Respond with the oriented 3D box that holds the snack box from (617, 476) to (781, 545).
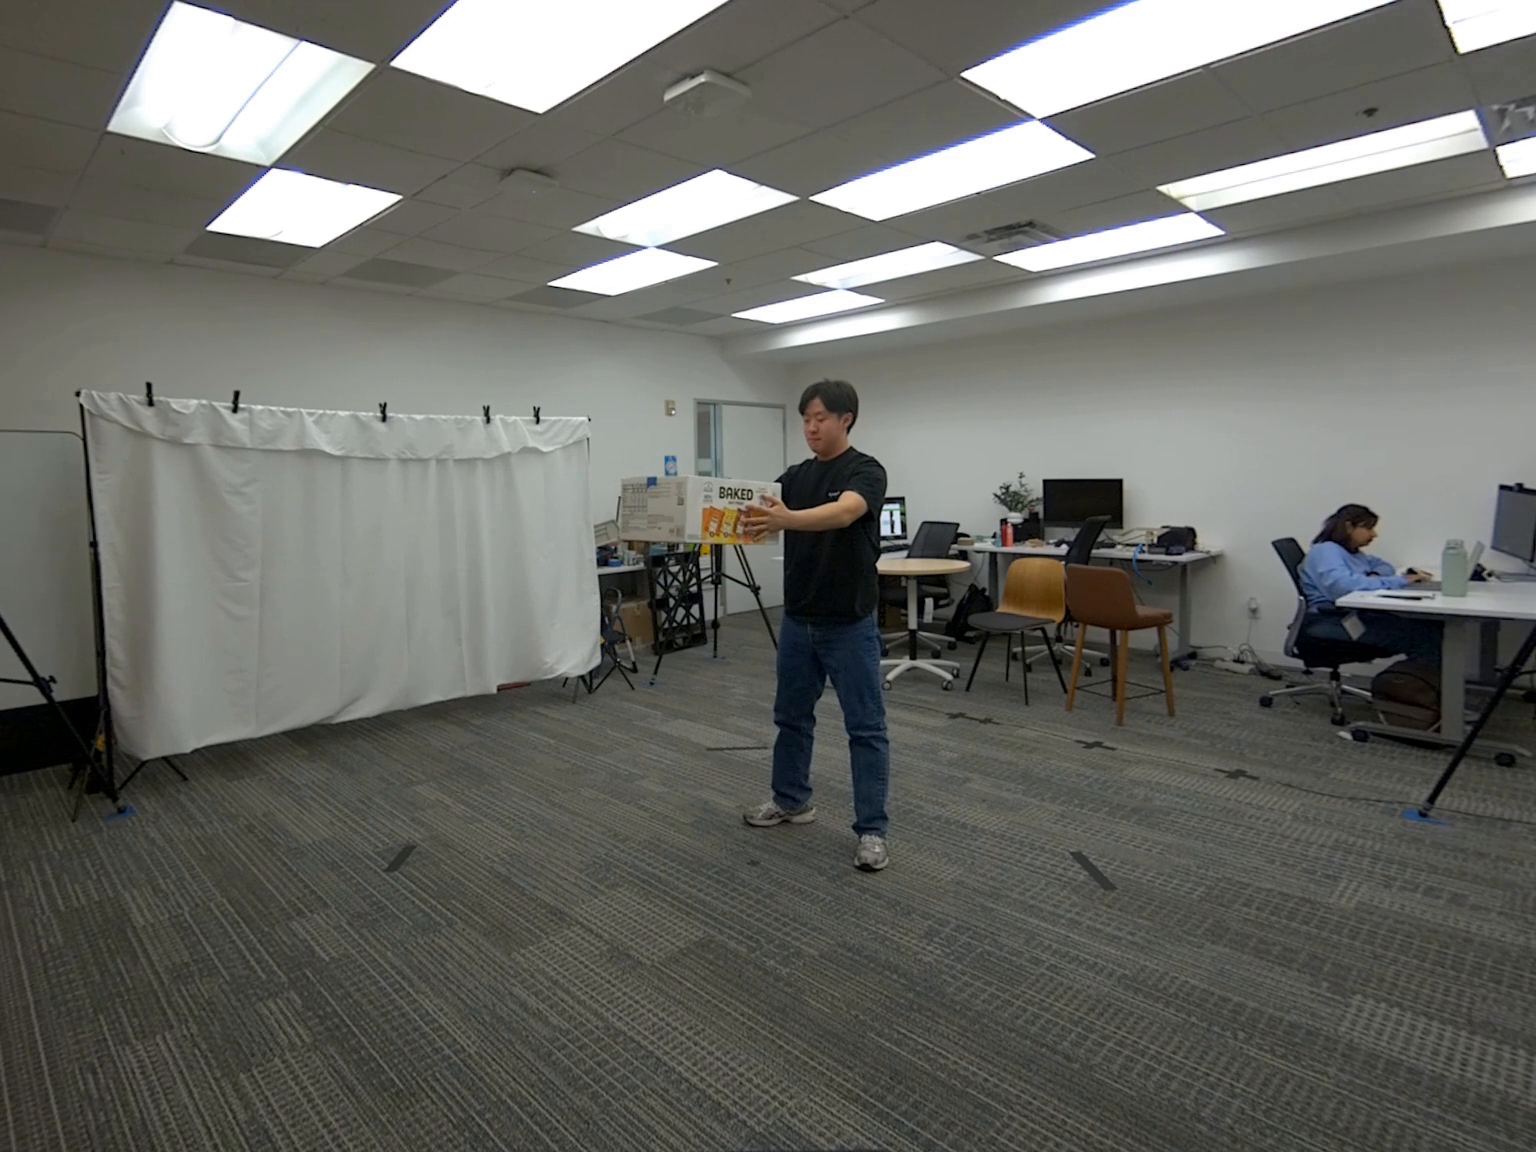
[{"bbox_3d":[-0.214,-0.198,2.789,0.393,0.205,0.351,-1,4,-45],"label":"snack box"}]
